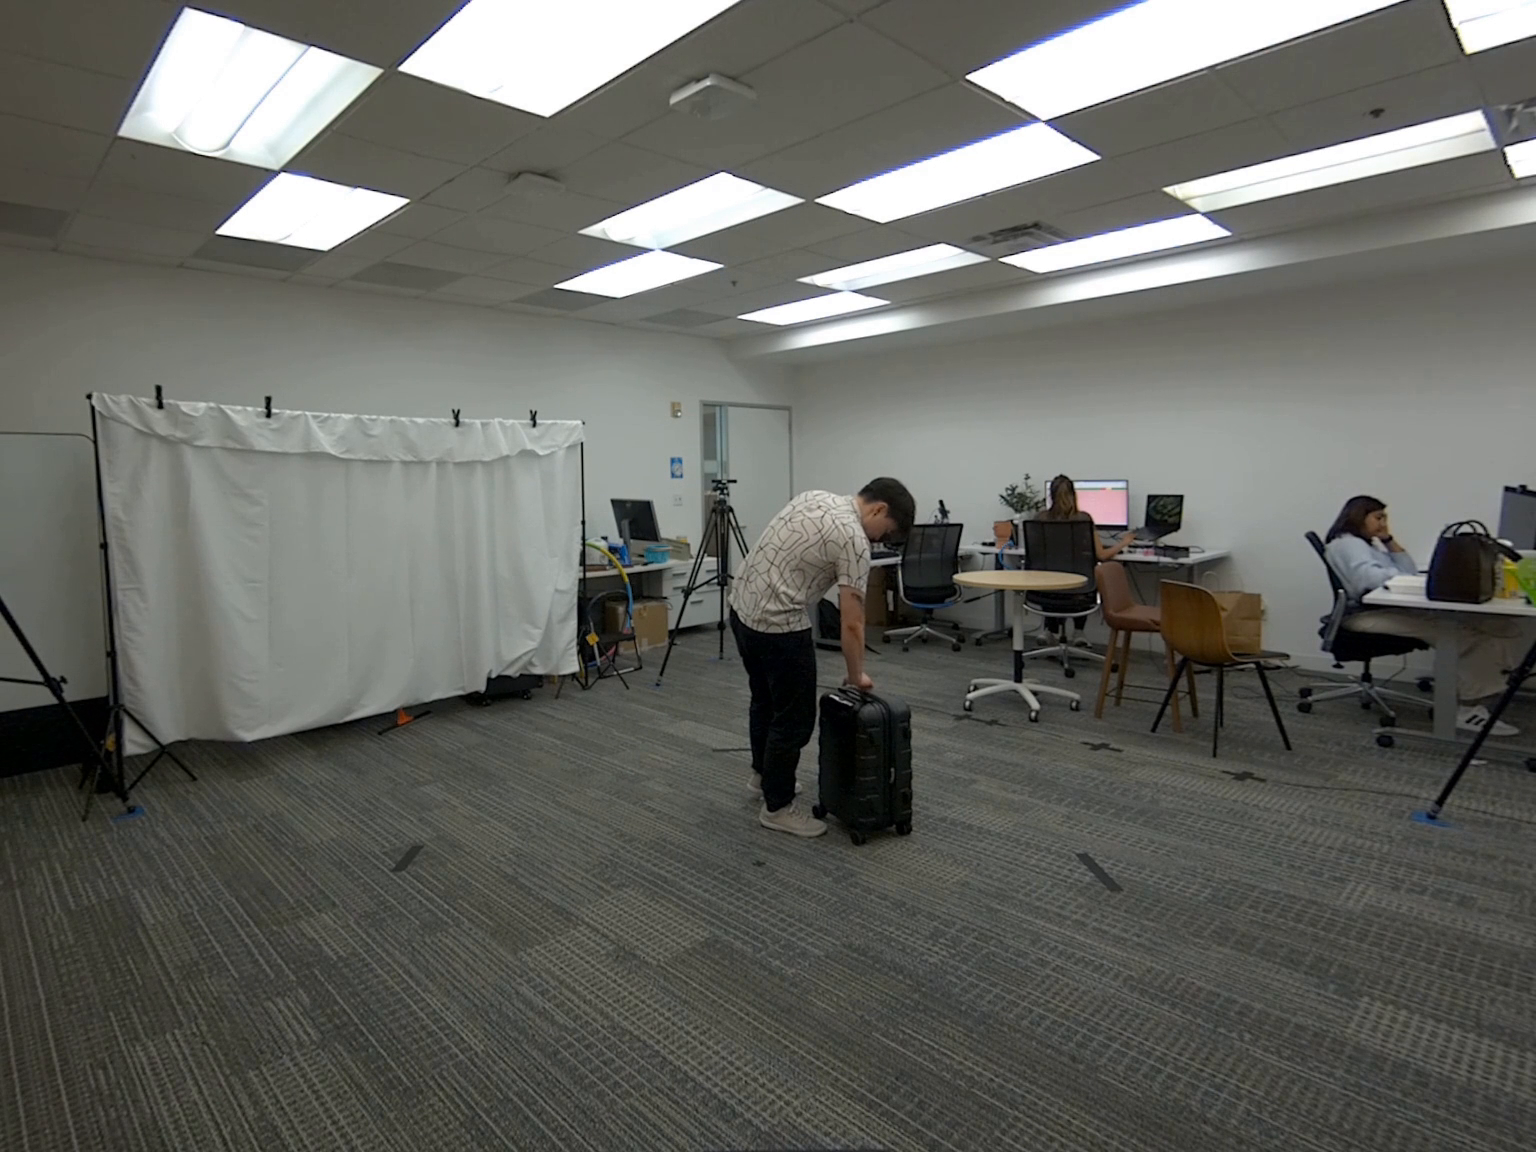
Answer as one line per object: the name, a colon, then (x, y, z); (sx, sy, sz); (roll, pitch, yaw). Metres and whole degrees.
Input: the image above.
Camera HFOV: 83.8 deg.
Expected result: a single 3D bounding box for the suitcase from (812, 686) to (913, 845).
suitcase: (0.383, 0.727, 3.411); (0.243, 0.547, 0.385); (-3, 5, -27)
